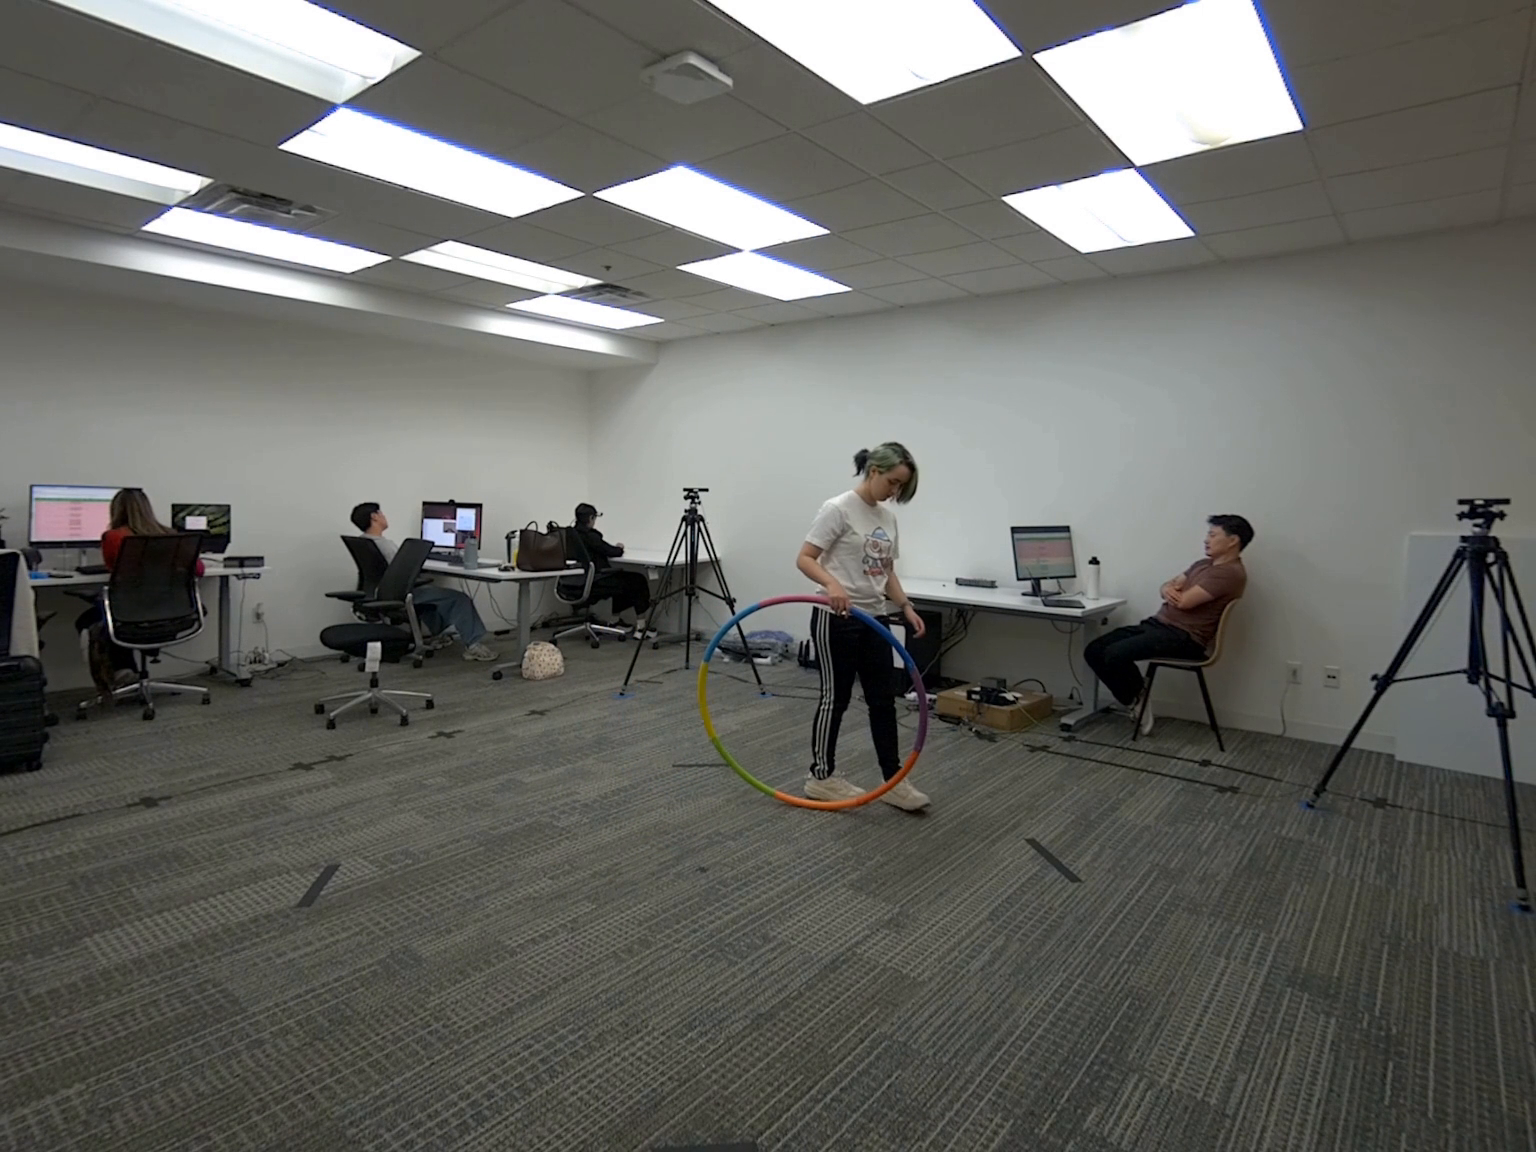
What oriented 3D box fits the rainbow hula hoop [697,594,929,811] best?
[{"bbox_3d":[0.169,0.543,3.626,0.996,0.965,0.035,2,14,17],"label":"rainbow hula hoop"}]
